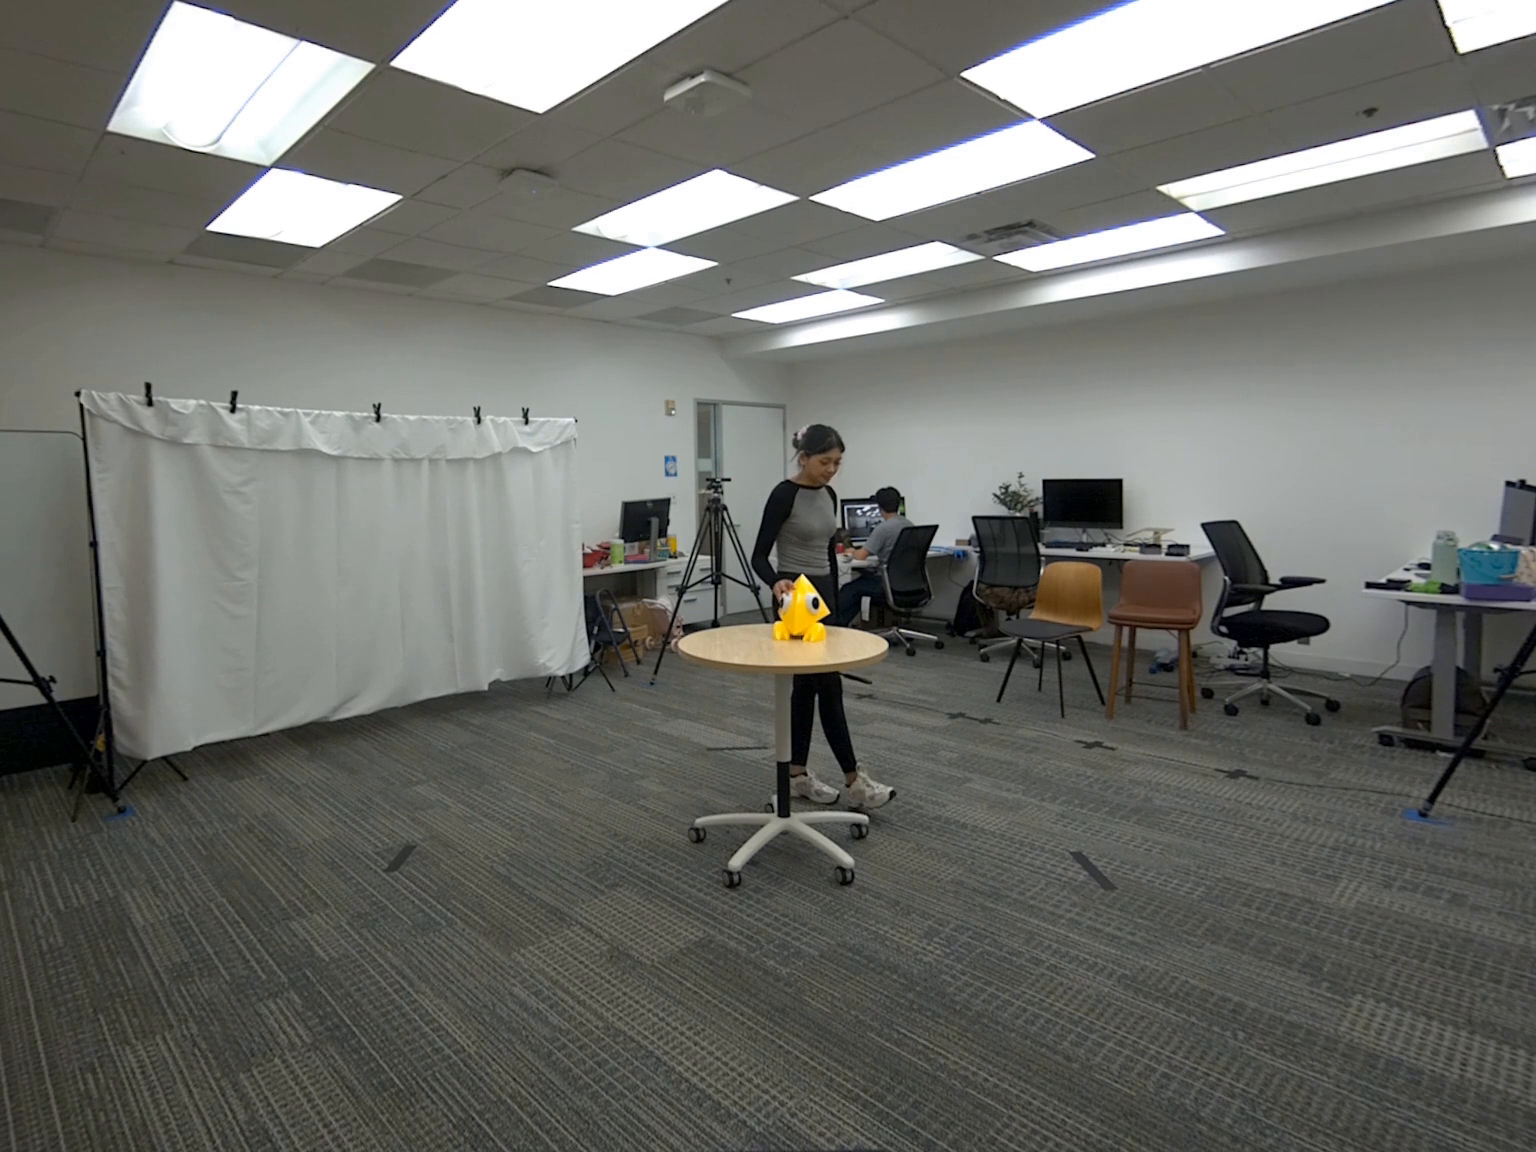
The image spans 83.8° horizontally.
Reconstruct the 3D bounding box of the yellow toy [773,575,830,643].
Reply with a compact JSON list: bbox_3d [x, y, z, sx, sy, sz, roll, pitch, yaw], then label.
[{"bbox_3d":[0.119,0.119,3.232,0.208,0.230,0.191,1,5,15],"label":"yellow toy"}]
